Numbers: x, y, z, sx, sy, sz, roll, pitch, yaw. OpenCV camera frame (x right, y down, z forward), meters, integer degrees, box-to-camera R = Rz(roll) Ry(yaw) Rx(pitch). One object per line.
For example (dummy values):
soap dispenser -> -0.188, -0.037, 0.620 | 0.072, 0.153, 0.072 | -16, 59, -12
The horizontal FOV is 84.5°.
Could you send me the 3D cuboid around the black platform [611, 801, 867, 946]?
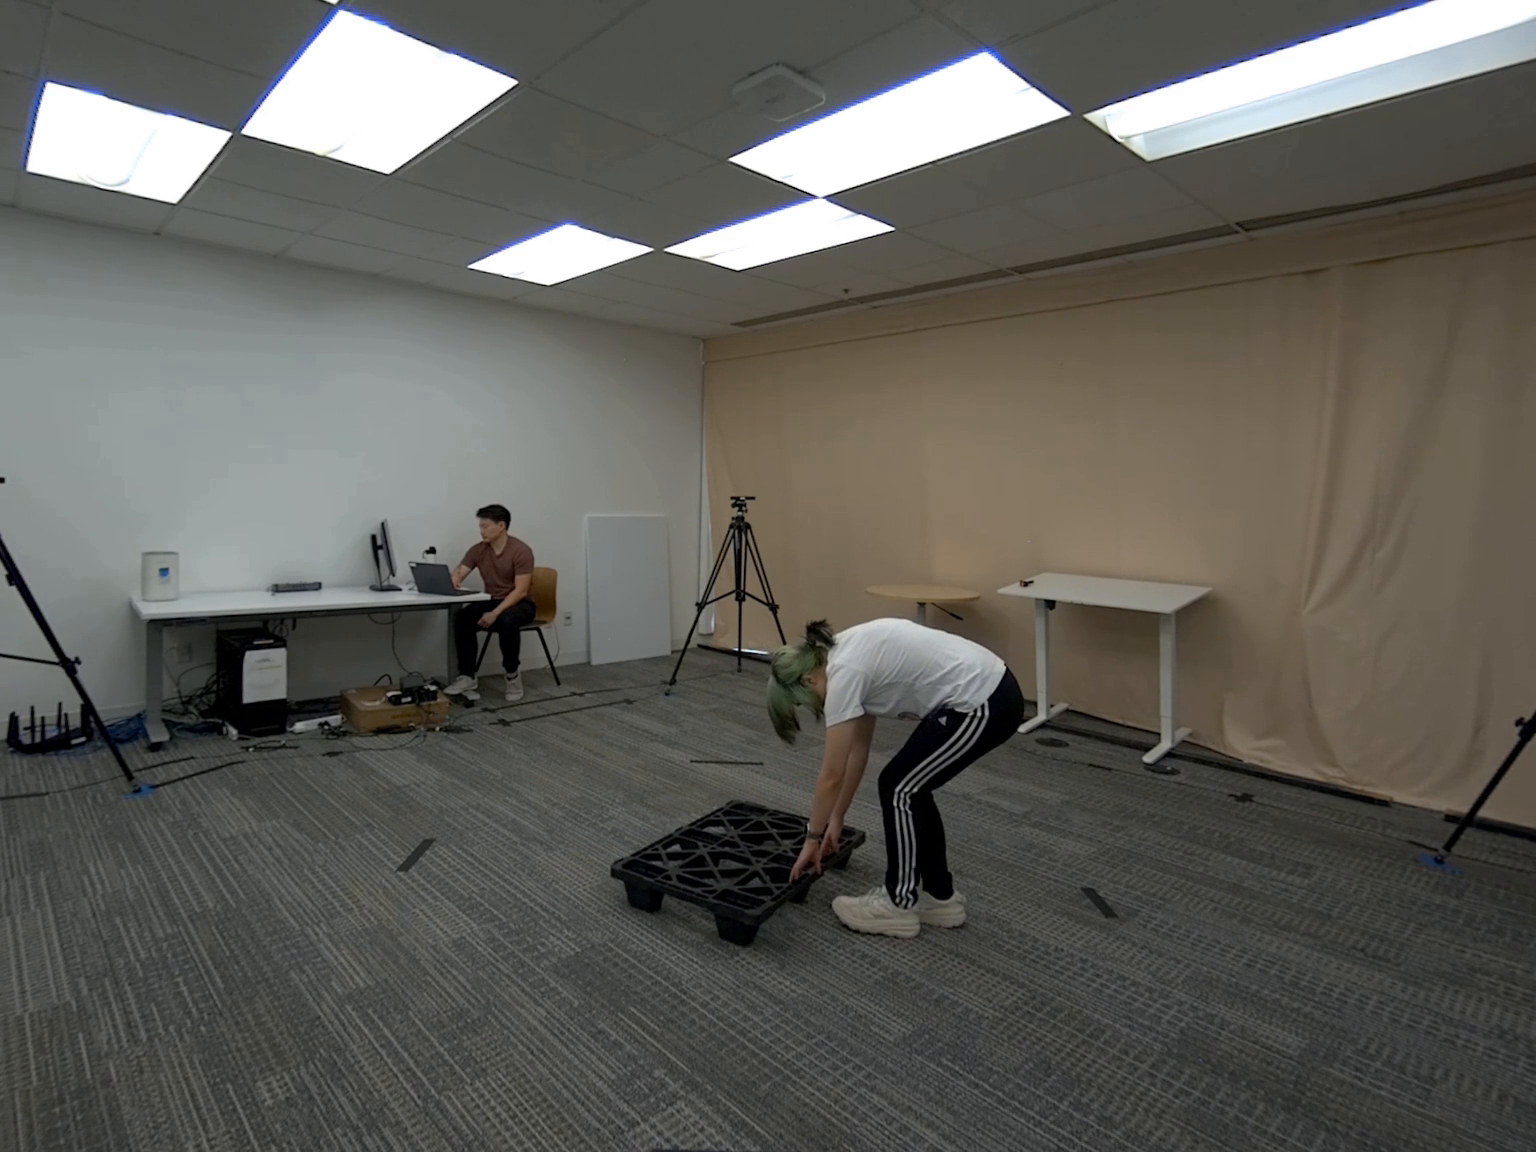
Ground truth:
black platform -> -0.082, 1.045, 3.032 | 0.619, 0.143, 0.790 | 5, 7, 32
